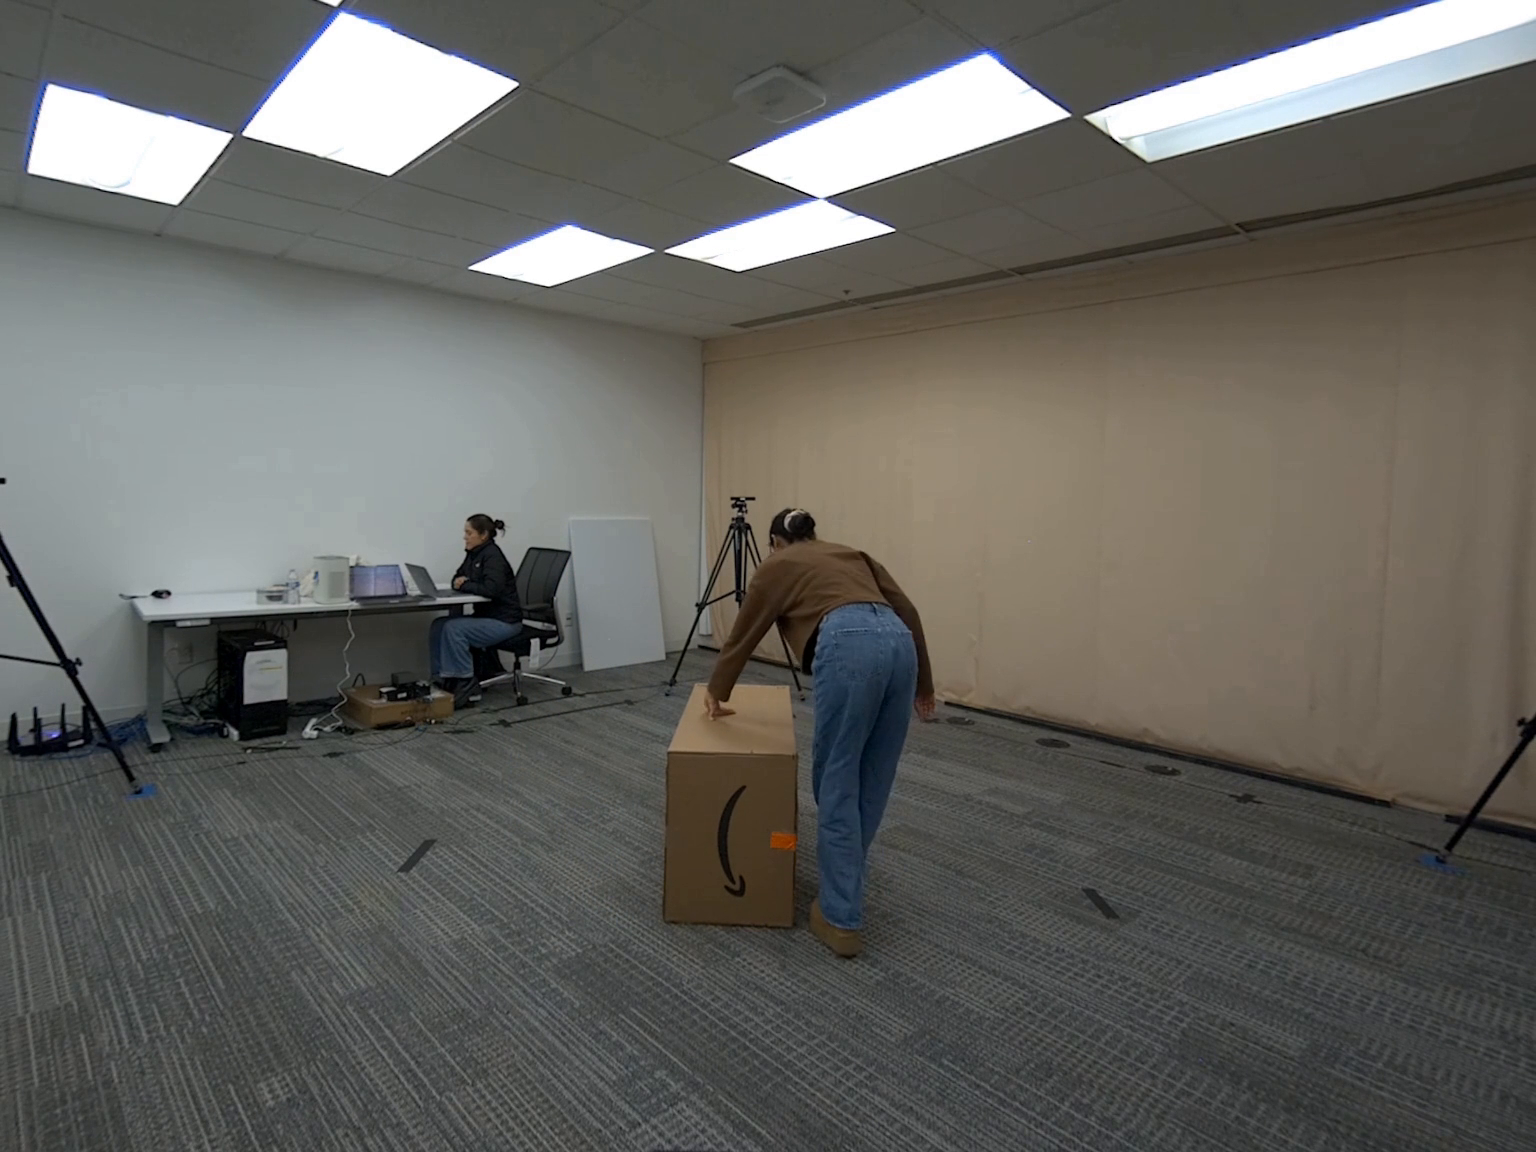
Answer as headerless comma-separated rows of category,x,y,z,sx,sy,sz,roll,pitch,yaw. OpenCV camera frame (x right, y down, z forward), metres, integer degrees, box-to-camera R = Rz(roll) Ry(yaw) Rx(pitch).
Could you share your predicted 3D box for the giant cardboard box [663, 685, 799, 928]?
giant cardboard box,-0.126,0.811,3.242,0.447,0.582,1.028,0,5,1
